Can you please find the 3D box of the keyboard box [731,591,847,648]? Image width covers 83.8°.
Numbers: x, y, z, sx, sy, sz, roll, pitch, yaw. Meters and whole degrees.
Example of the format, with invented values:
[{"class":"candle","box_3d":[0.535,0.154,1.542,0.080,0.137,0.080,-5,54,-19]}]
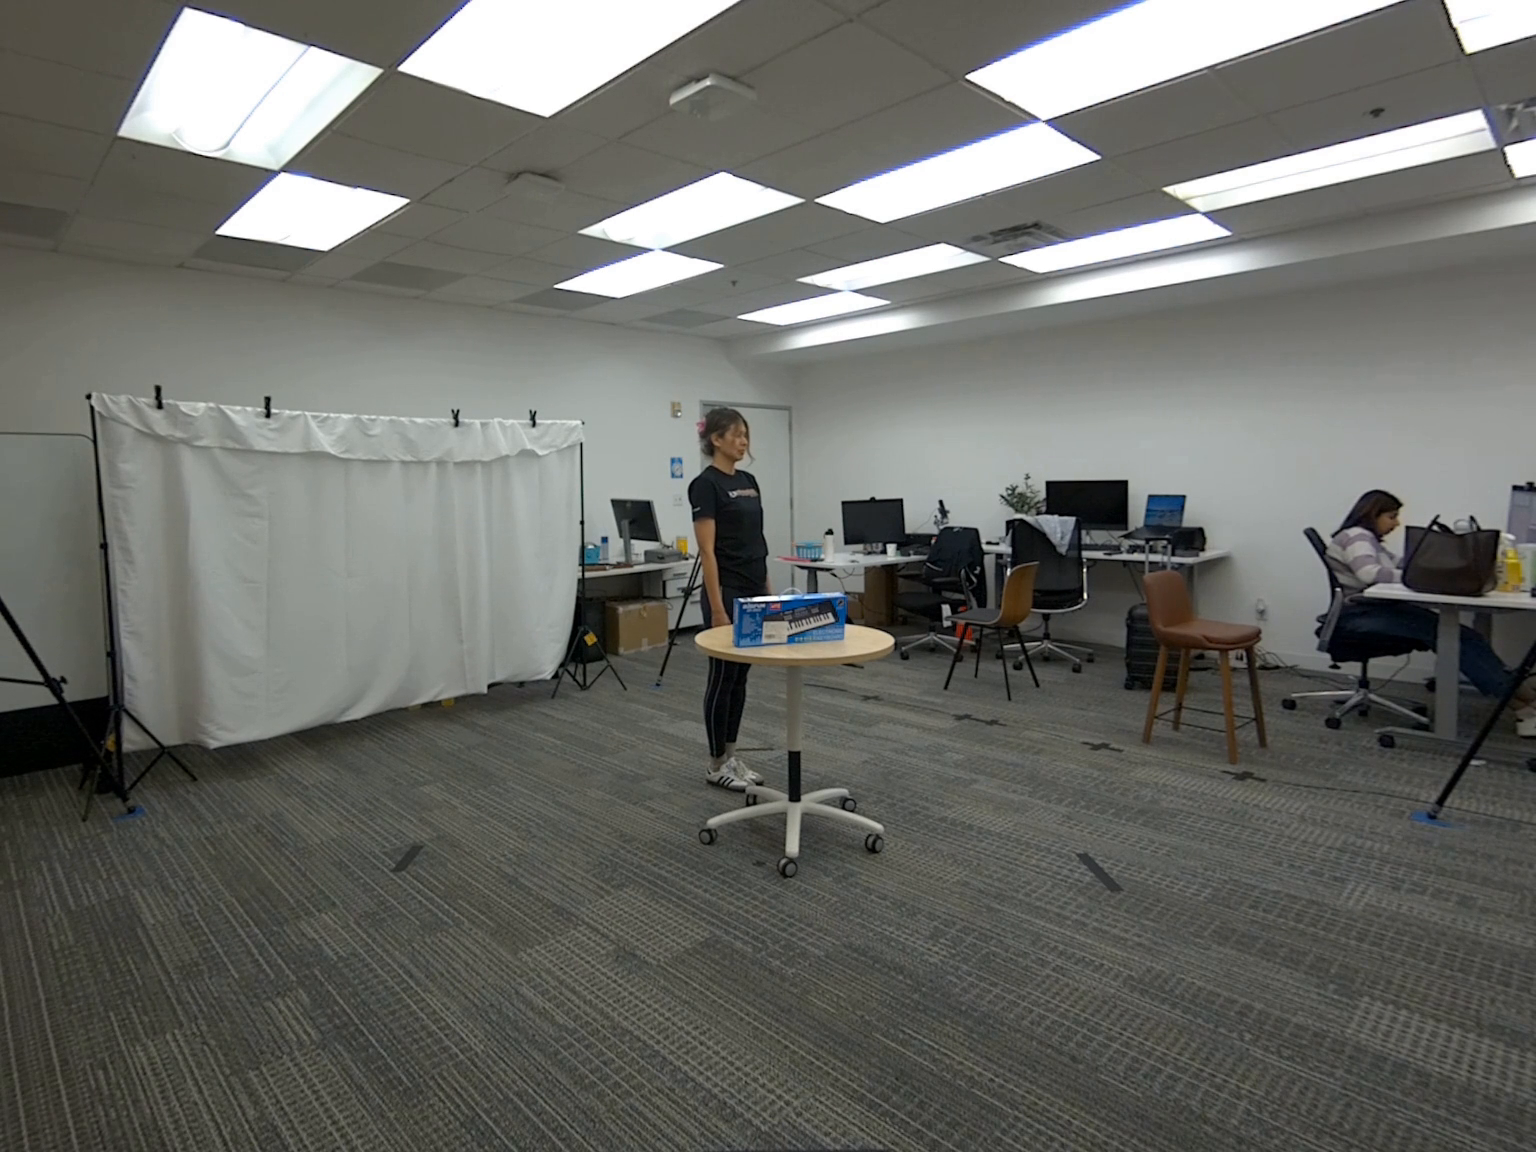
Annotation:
[{"class":"keyboard box","box_3d":[0.082,0.166,3.195,0.429,0.174,0.061,-3,9,-21]}]
